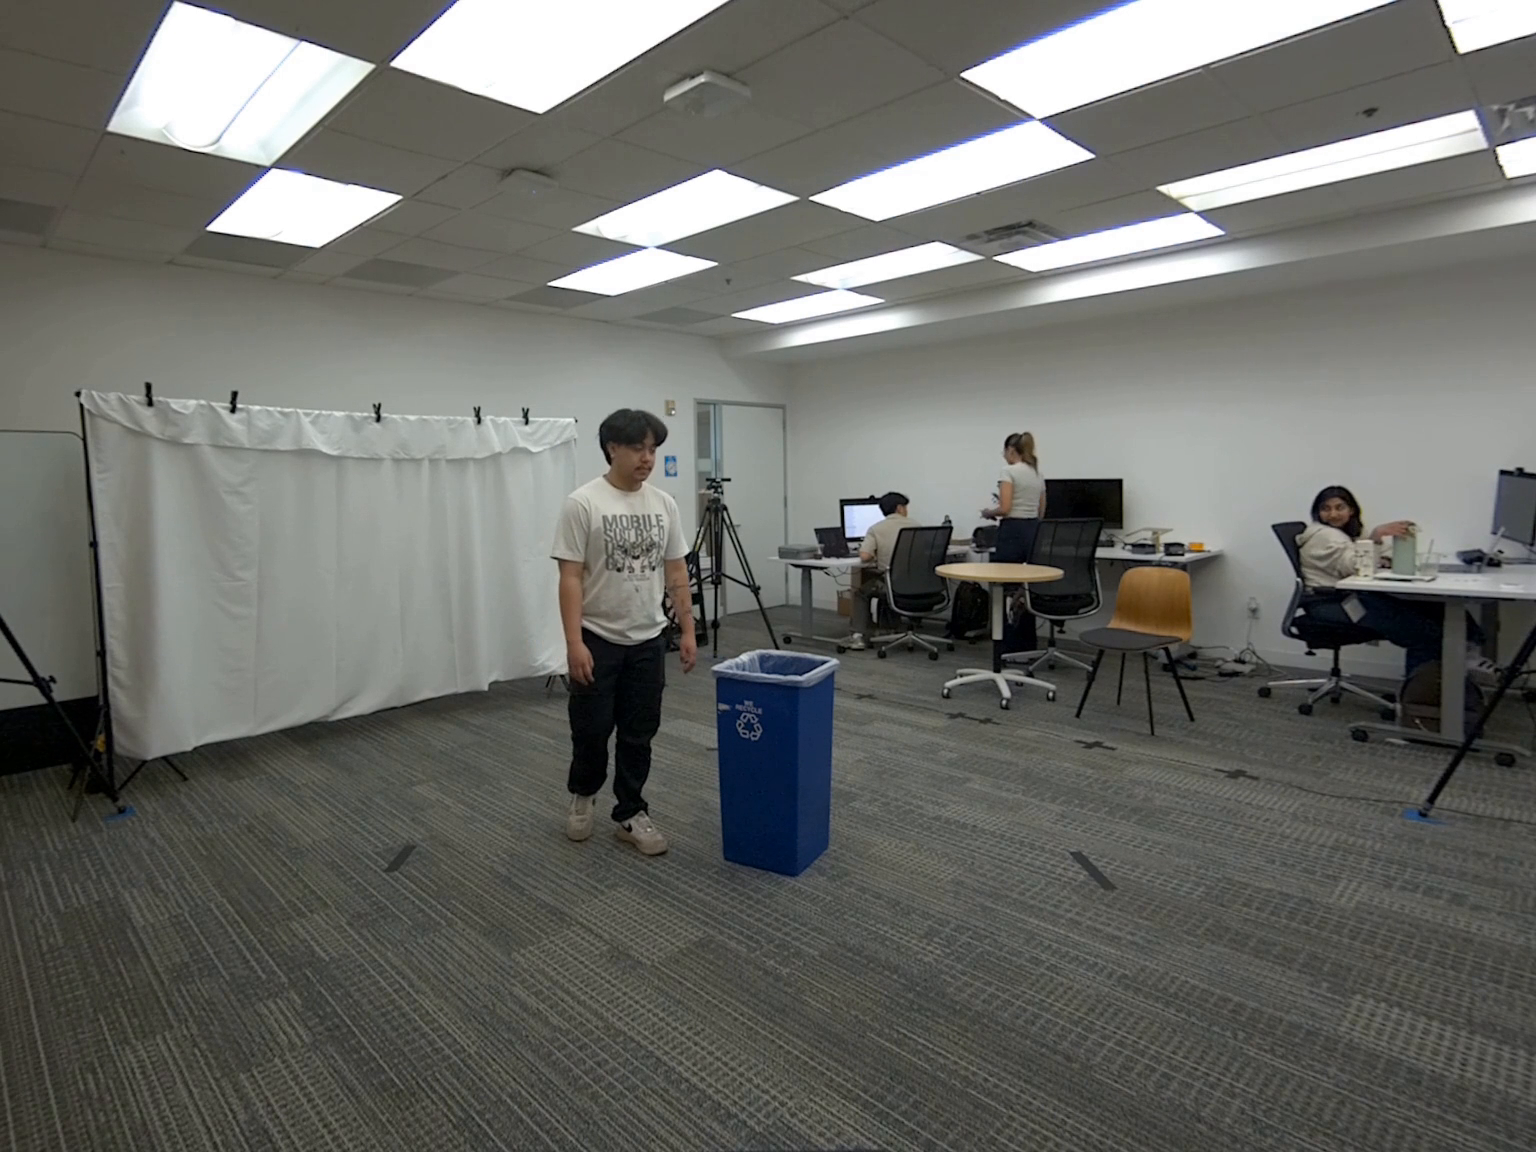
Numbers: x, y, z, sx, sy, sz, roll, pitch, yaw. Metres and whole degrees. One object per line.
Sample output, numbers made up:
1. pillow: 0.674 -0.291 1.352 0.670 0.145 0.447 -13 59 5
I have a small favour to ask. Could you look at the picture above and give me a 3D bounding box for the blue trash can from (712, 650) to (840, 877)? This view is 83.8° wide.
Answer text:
1. blue trash can: 0.039 0.673 3.159 0.384 0.711 0.370 1 5 29
